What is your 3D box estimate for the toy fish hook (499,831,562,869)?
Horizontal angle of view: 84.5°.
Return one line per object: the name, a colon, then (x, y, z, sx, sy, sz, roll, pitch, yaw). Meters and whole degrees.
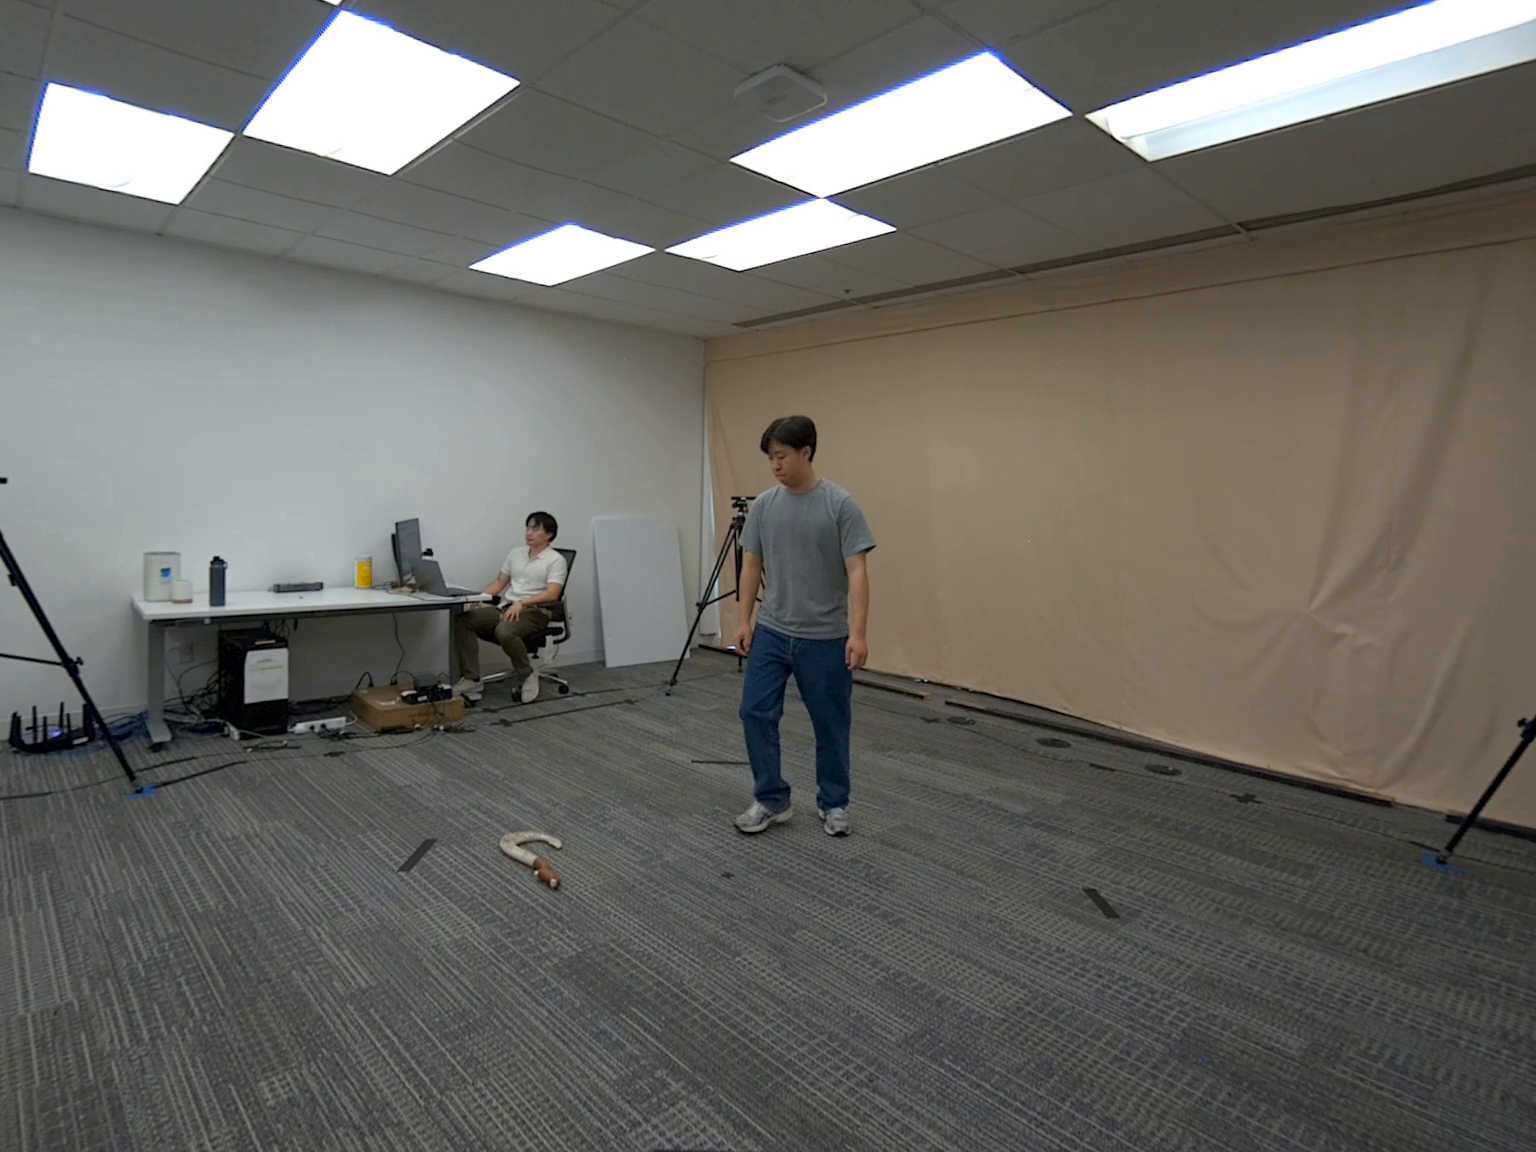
toy fish hook: (-0.853, 1.059, 3.182, 0.220, 0.048, 0.519, -3, 7, -35)
